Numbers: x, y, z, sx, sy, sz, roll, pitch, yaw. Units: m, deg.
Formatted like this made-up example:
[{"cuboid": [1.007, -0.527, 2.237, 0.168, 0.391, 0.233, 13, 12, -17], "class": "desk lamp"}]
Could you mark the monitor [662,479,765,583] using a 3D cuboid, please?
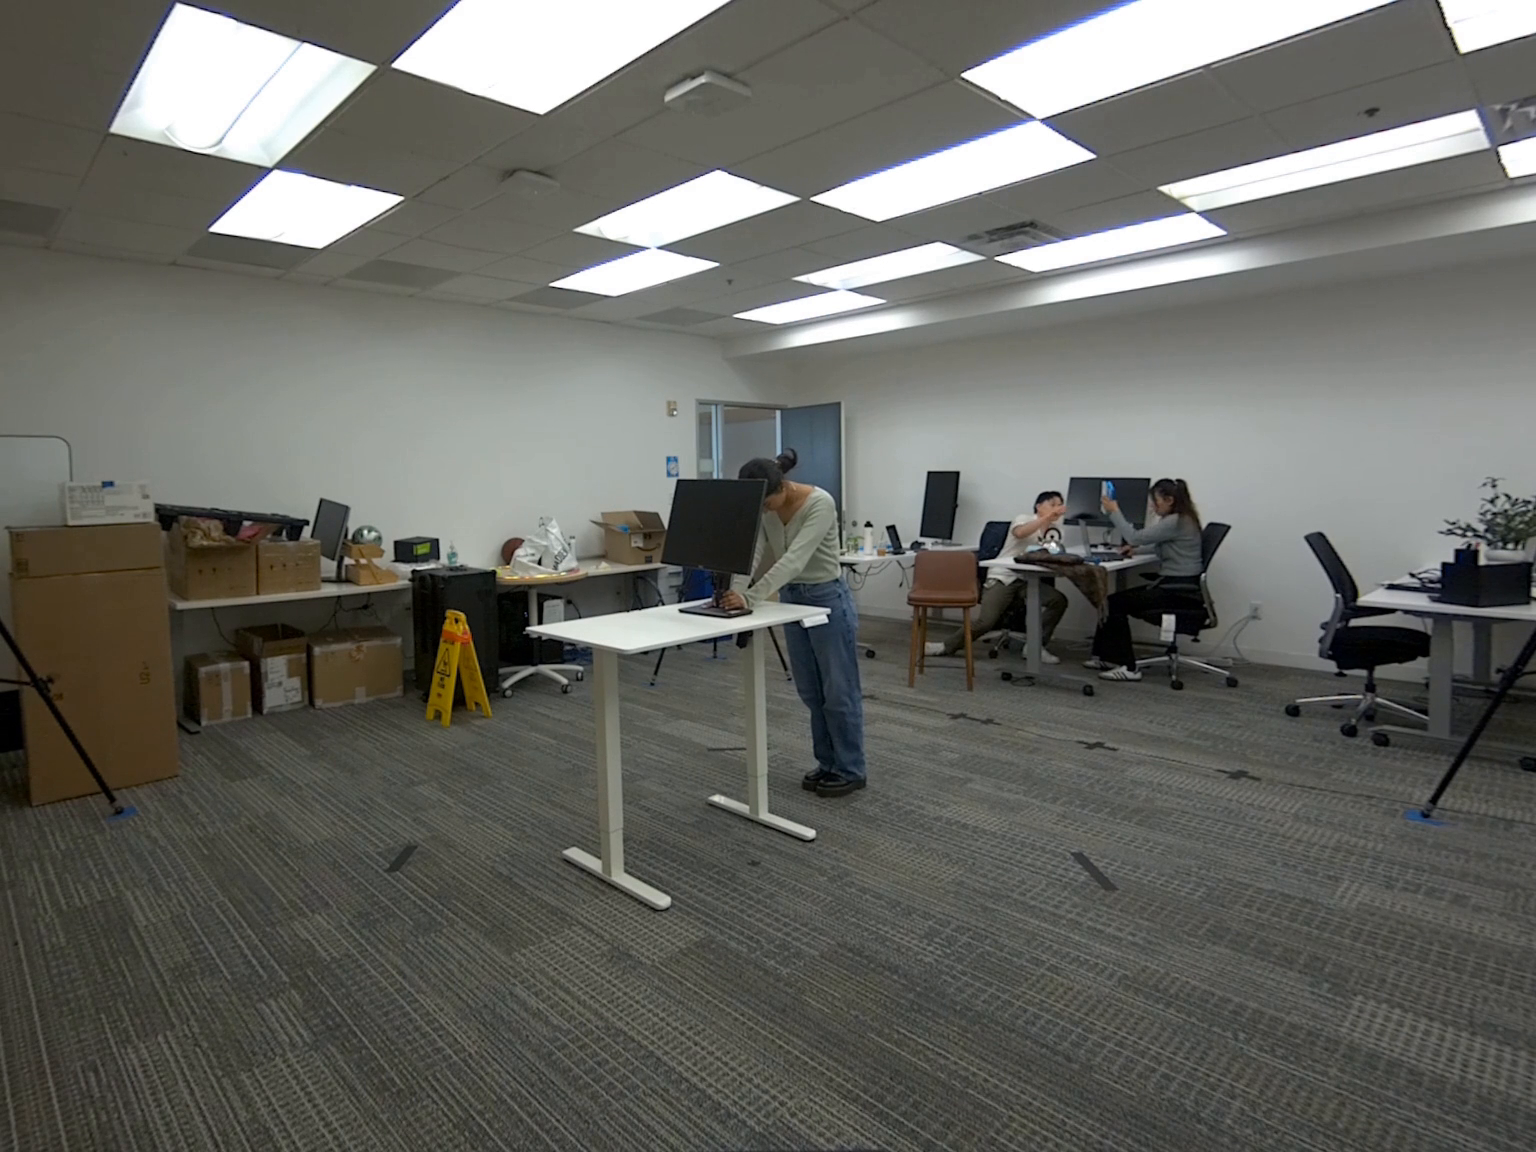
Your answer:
[{"cuboid": [-0.200, -0.112, 3.286, 0.182, 0.520, 0.556, -4, 6, -41], "class": "monitor"}]
